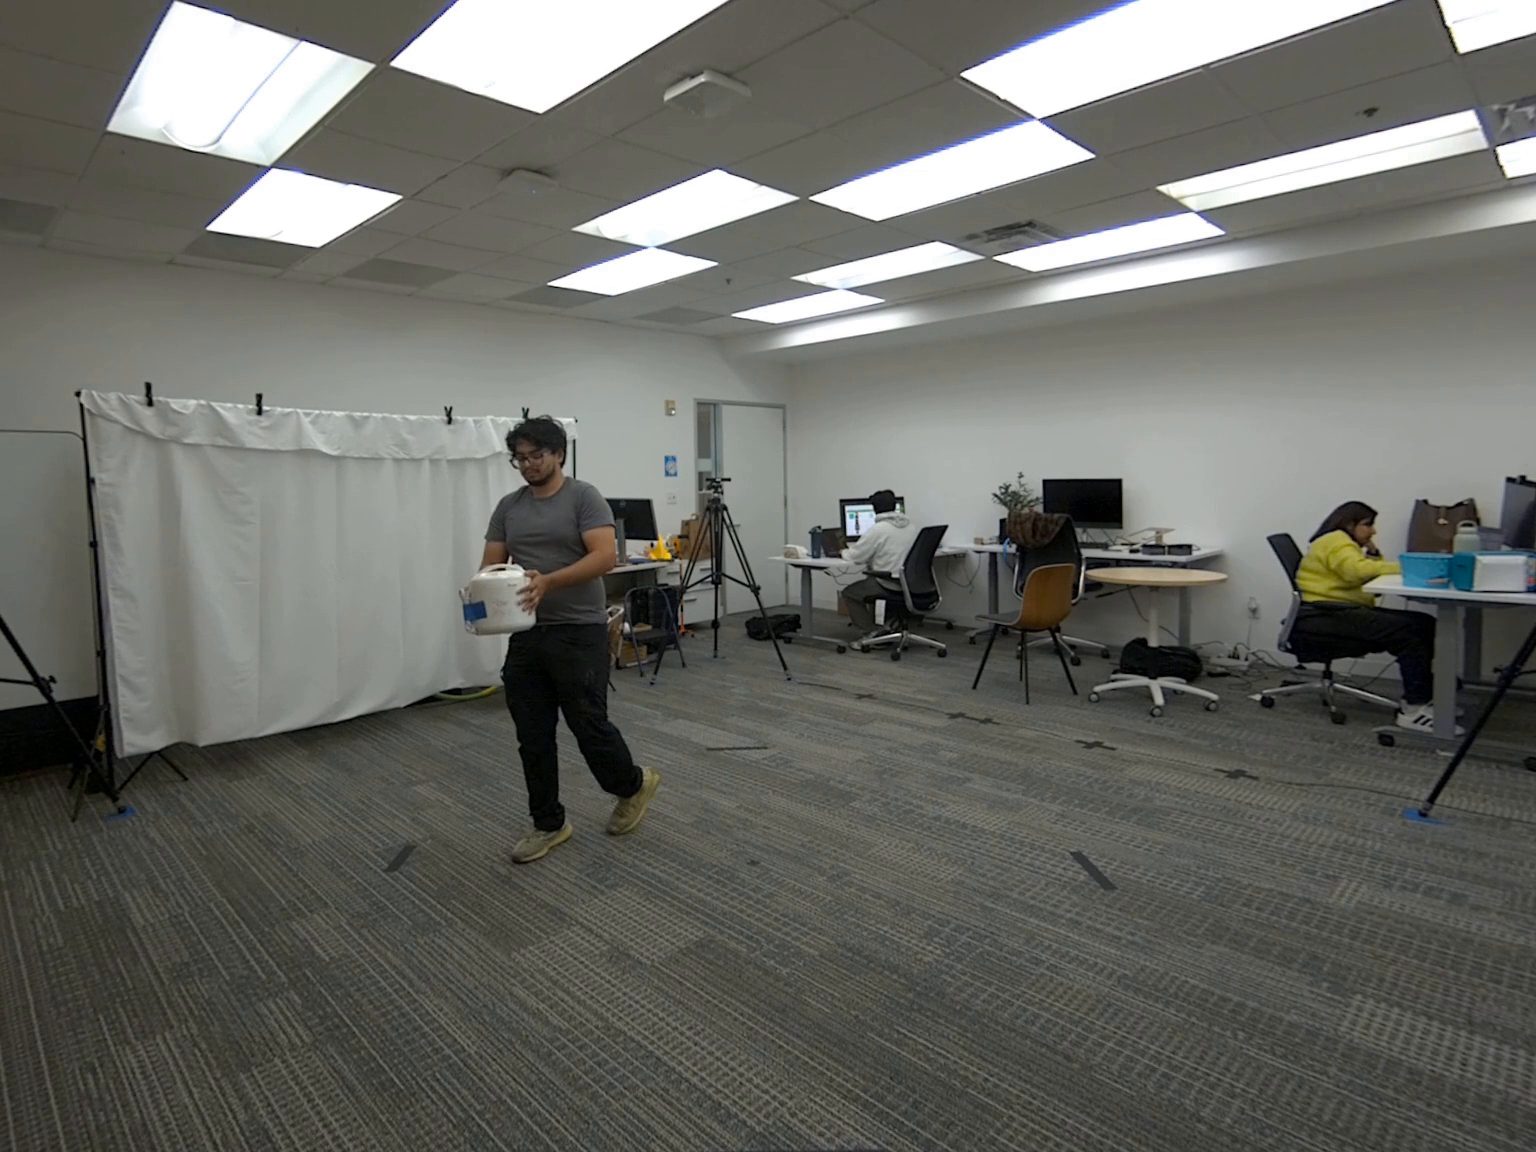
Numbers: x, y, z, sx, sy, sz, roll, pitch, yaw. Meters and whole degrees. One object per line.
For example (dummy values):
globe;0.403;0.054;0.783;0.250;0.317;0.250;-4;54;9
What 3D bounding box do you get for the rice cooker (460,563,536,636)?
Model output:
rice cooker;-0.913;0.078;2.899;0.223;0.232;0.215;-4;2;11
